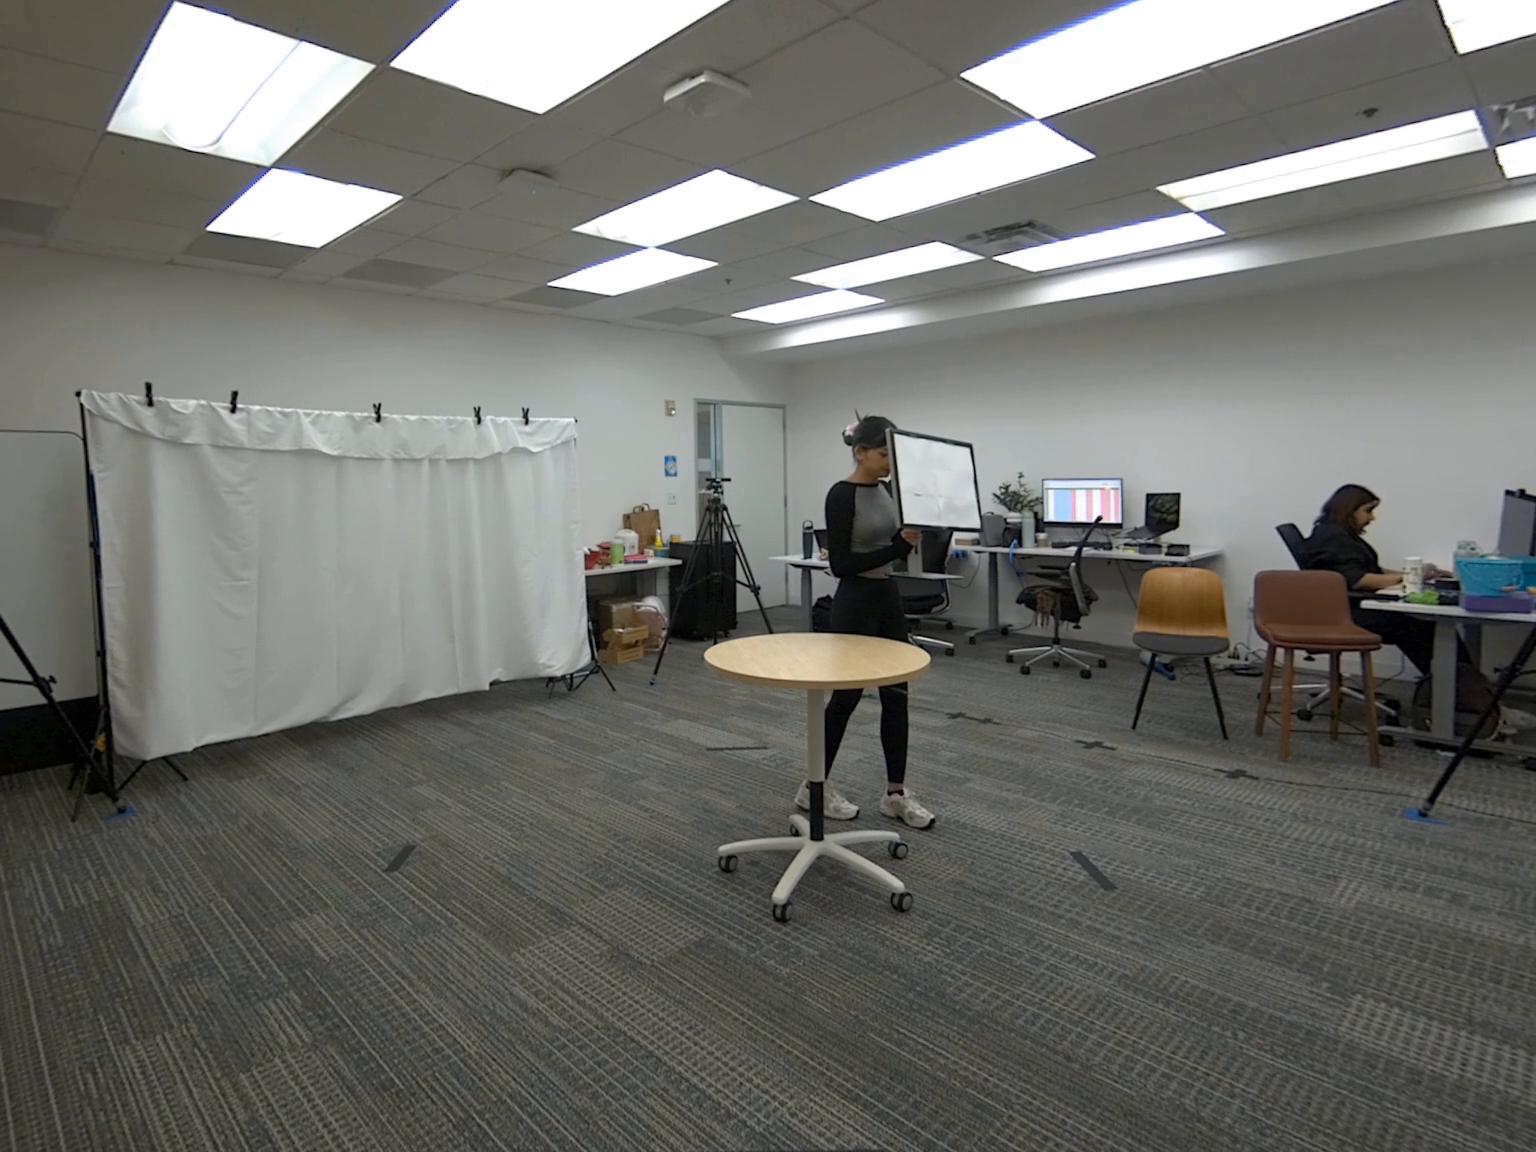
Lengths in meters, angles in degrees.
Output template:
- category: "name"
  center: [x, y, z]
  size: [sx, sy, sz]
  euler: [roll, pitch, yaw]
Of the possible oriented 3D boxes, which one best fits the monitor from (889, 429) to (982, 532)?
- category: "monitor"
  center: [0.612, -0.266, 3.265]
  size: [0.193, 0.522, 0.523]
  euler: [5, 3, 43]
